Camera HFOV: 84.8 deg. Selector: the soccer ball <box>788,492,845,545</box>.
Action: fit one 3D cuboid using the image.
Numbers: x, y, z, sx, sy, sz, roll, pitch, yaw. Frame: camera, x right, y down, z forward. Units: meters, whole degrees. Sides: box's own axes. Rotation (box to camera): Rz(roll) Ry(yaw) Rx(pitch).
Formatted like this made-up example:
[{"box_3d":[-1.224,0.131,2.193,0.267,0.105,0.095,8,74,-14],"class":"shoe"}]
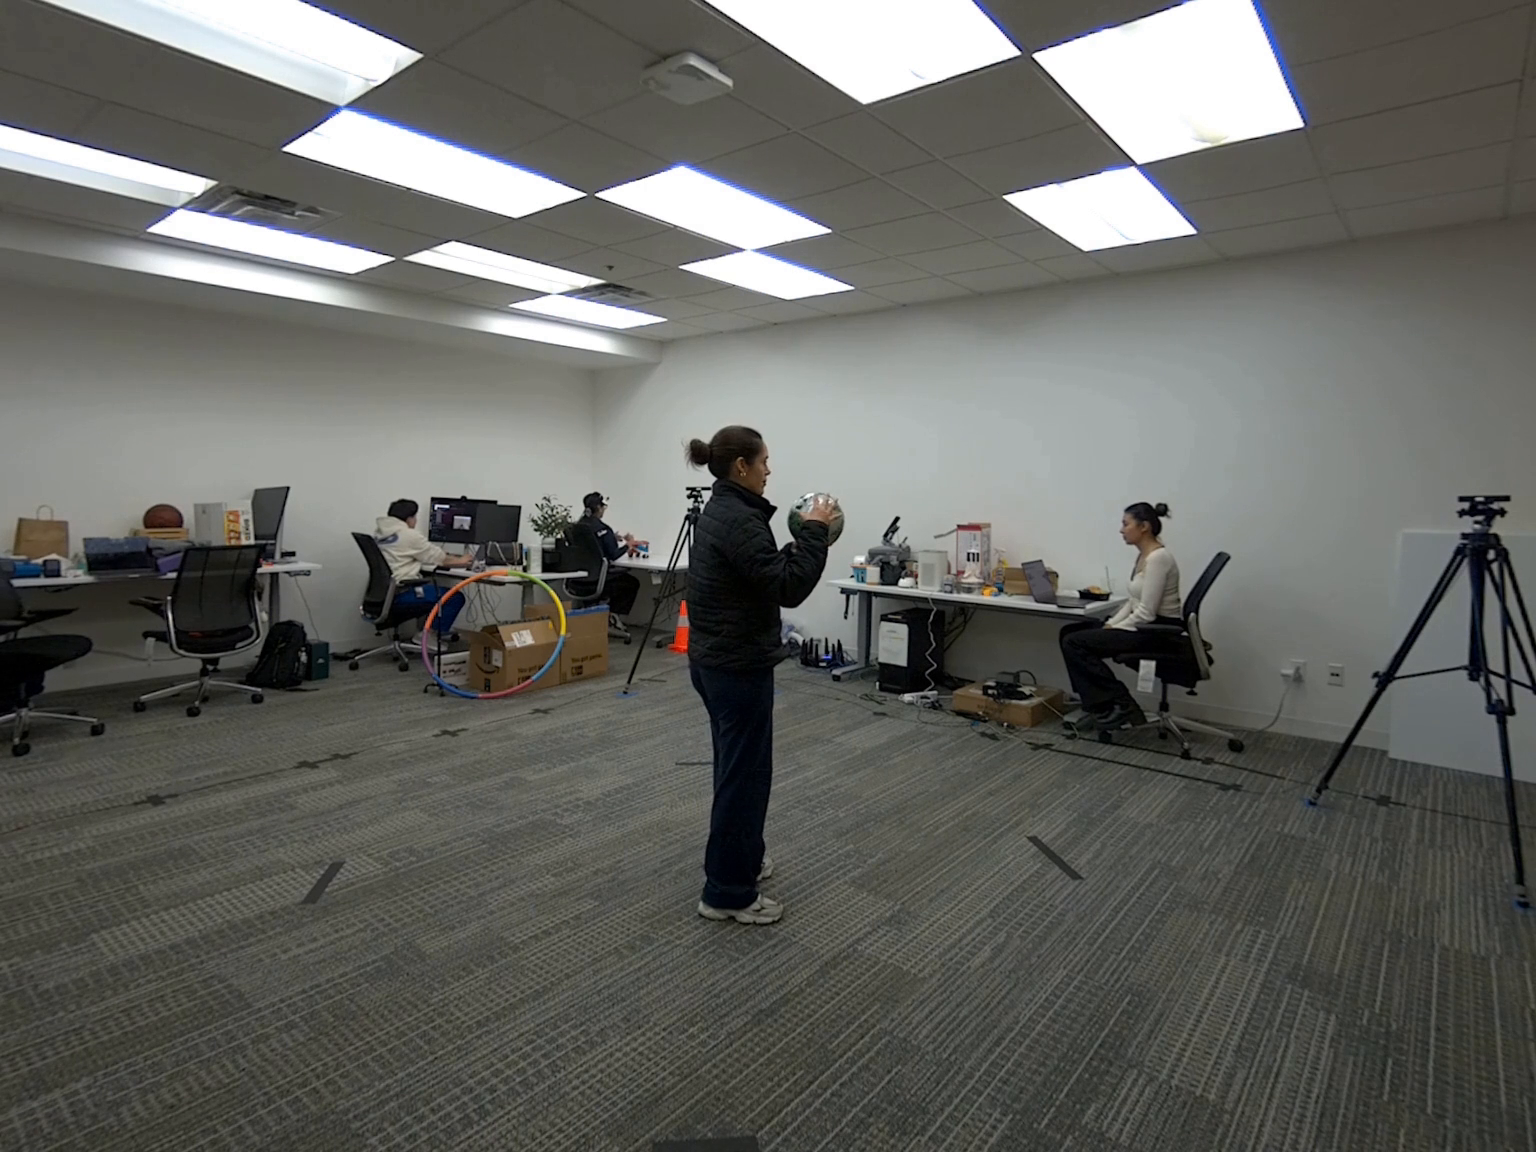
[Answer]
[{"box_3d":[0.155,-0.191,2.814,0.187,0.187,0.188,1,4,-2],"class":"soccer ball"}]
